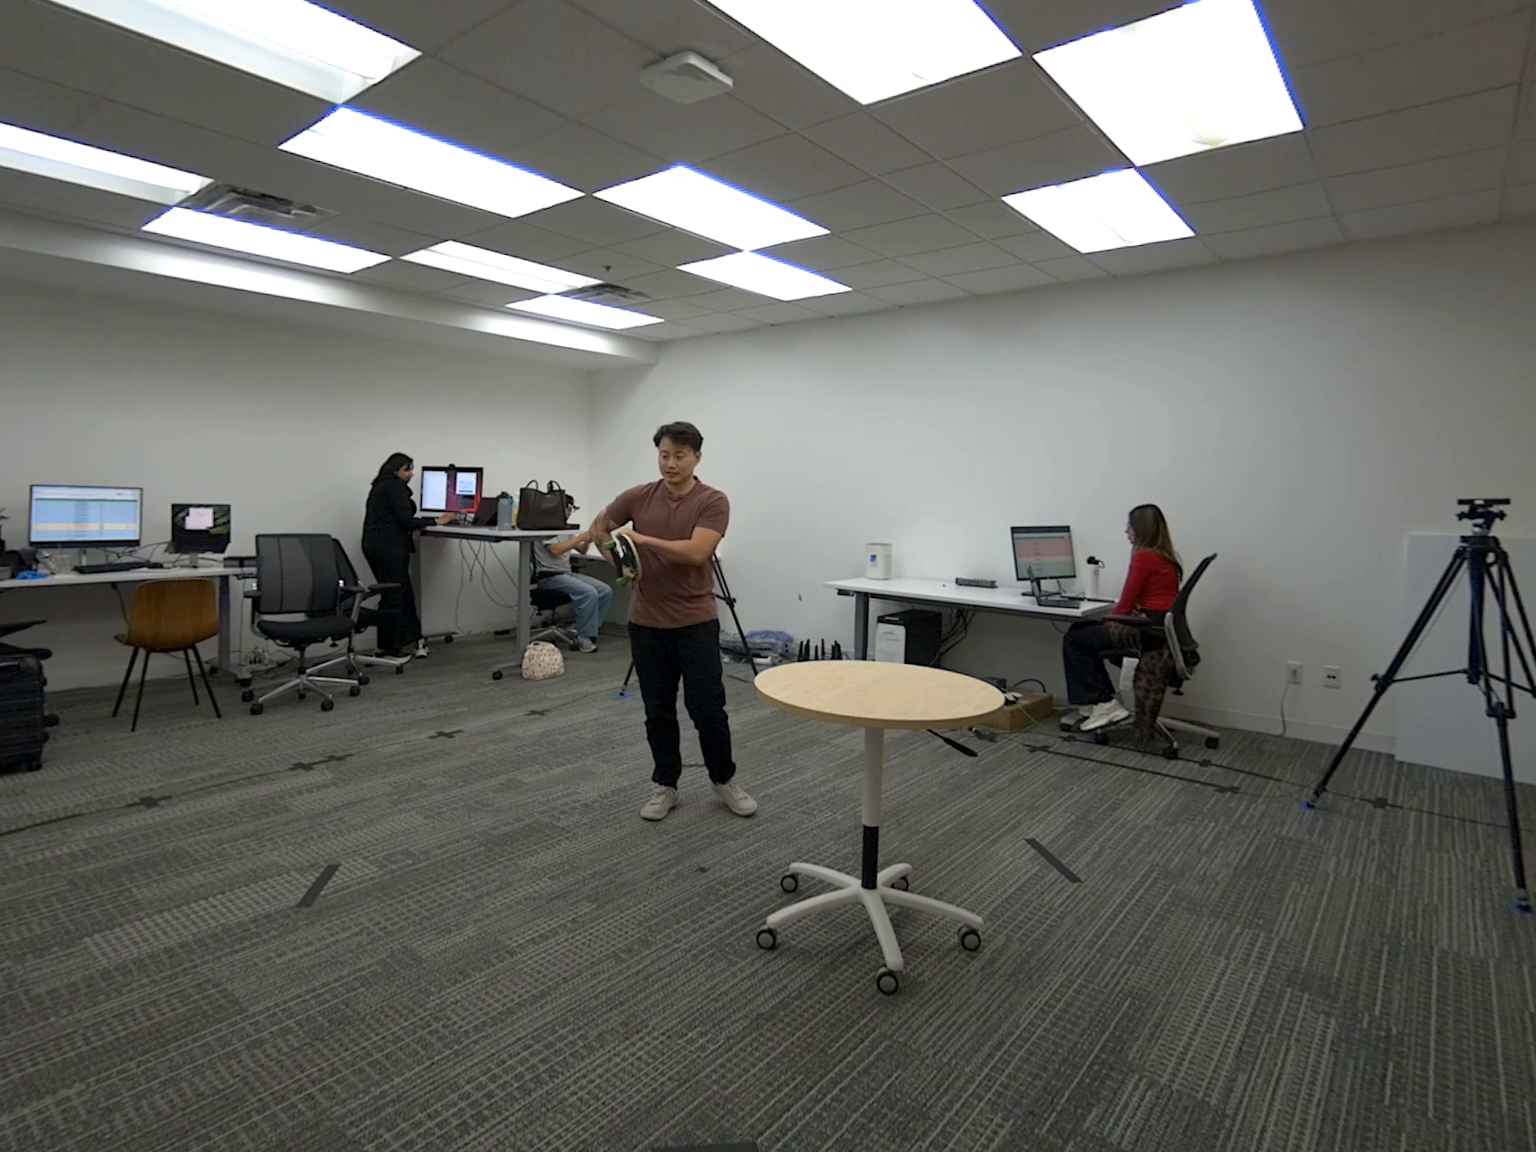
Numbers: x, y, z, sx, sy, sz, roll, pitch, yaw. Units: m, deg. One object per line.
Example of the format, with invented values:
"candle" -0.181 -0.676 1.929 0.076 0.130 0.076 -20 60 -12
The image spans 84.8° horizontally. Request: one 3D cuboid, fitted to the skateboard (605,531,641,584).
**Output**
"skateboard" -0.648 -0.077 3.657 0.109 0.192 0.794 -22 6 -11
